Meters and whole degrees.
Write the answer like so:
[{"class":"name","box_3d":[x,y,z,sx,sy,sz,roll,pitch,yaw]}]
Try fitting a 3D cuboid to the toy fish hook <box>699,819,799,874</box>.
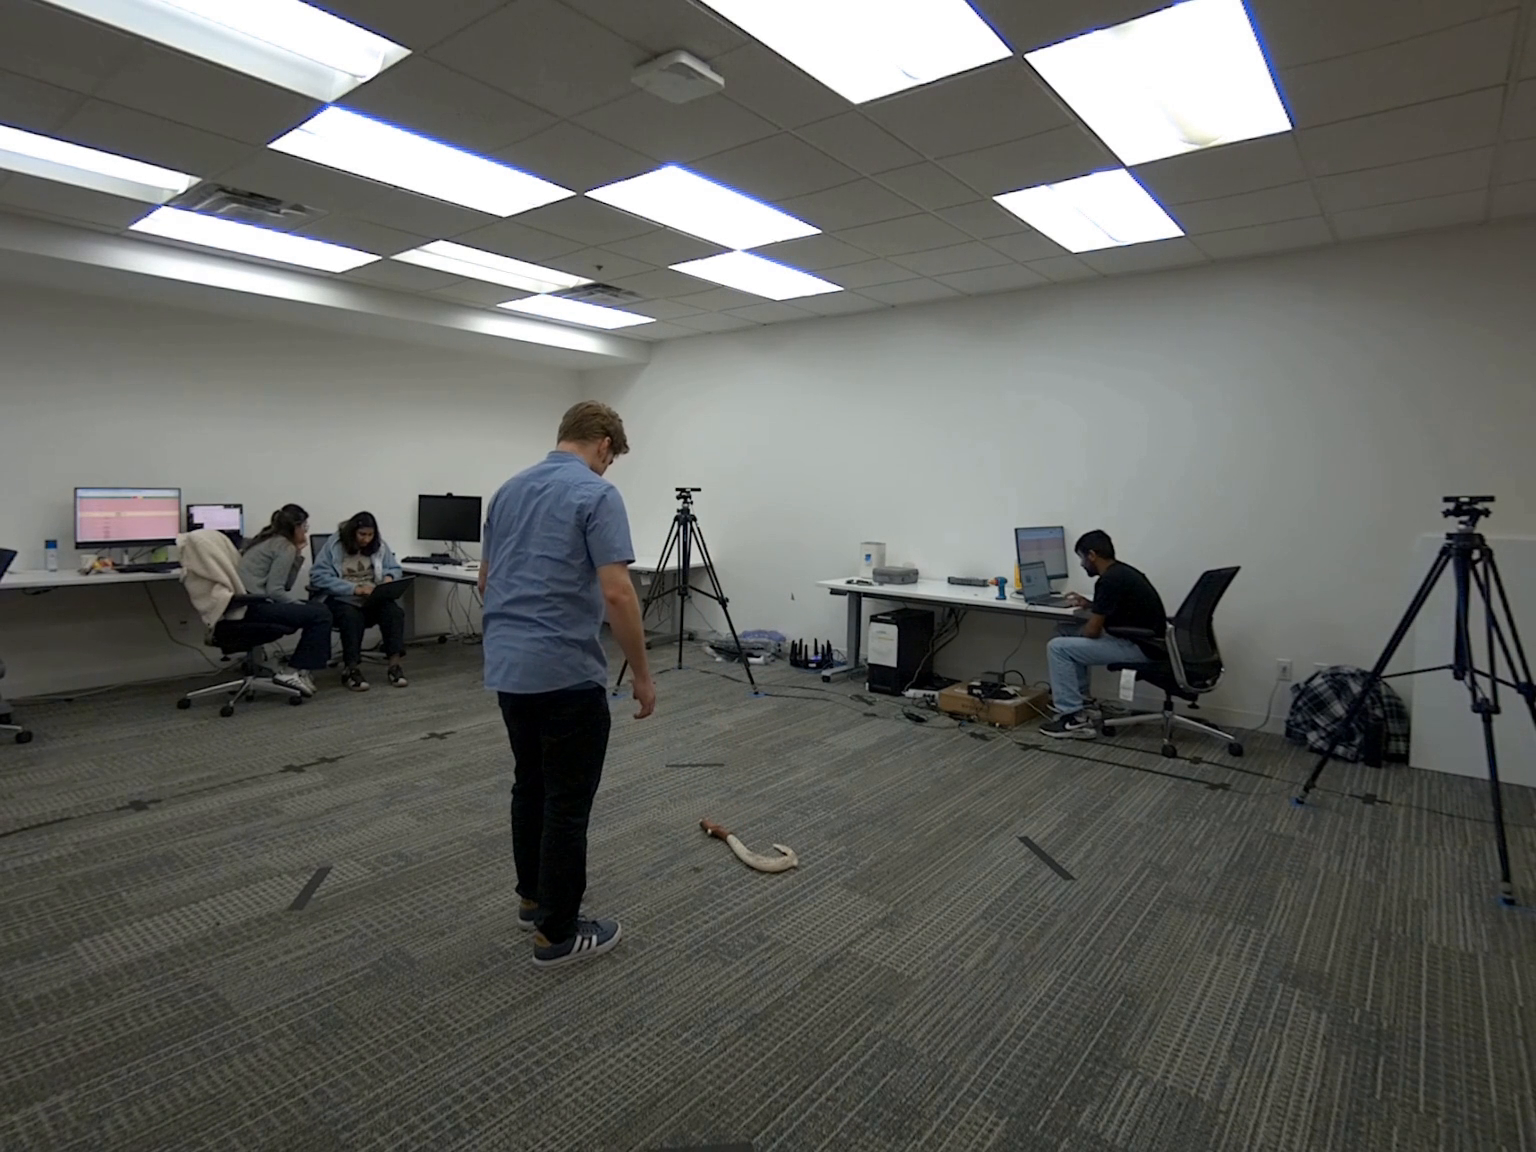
[{"class":"toy fish hook","box_3d":[-0.087,1.037,3.312,0.217,0.048,0.524,7,2,-36]}]
